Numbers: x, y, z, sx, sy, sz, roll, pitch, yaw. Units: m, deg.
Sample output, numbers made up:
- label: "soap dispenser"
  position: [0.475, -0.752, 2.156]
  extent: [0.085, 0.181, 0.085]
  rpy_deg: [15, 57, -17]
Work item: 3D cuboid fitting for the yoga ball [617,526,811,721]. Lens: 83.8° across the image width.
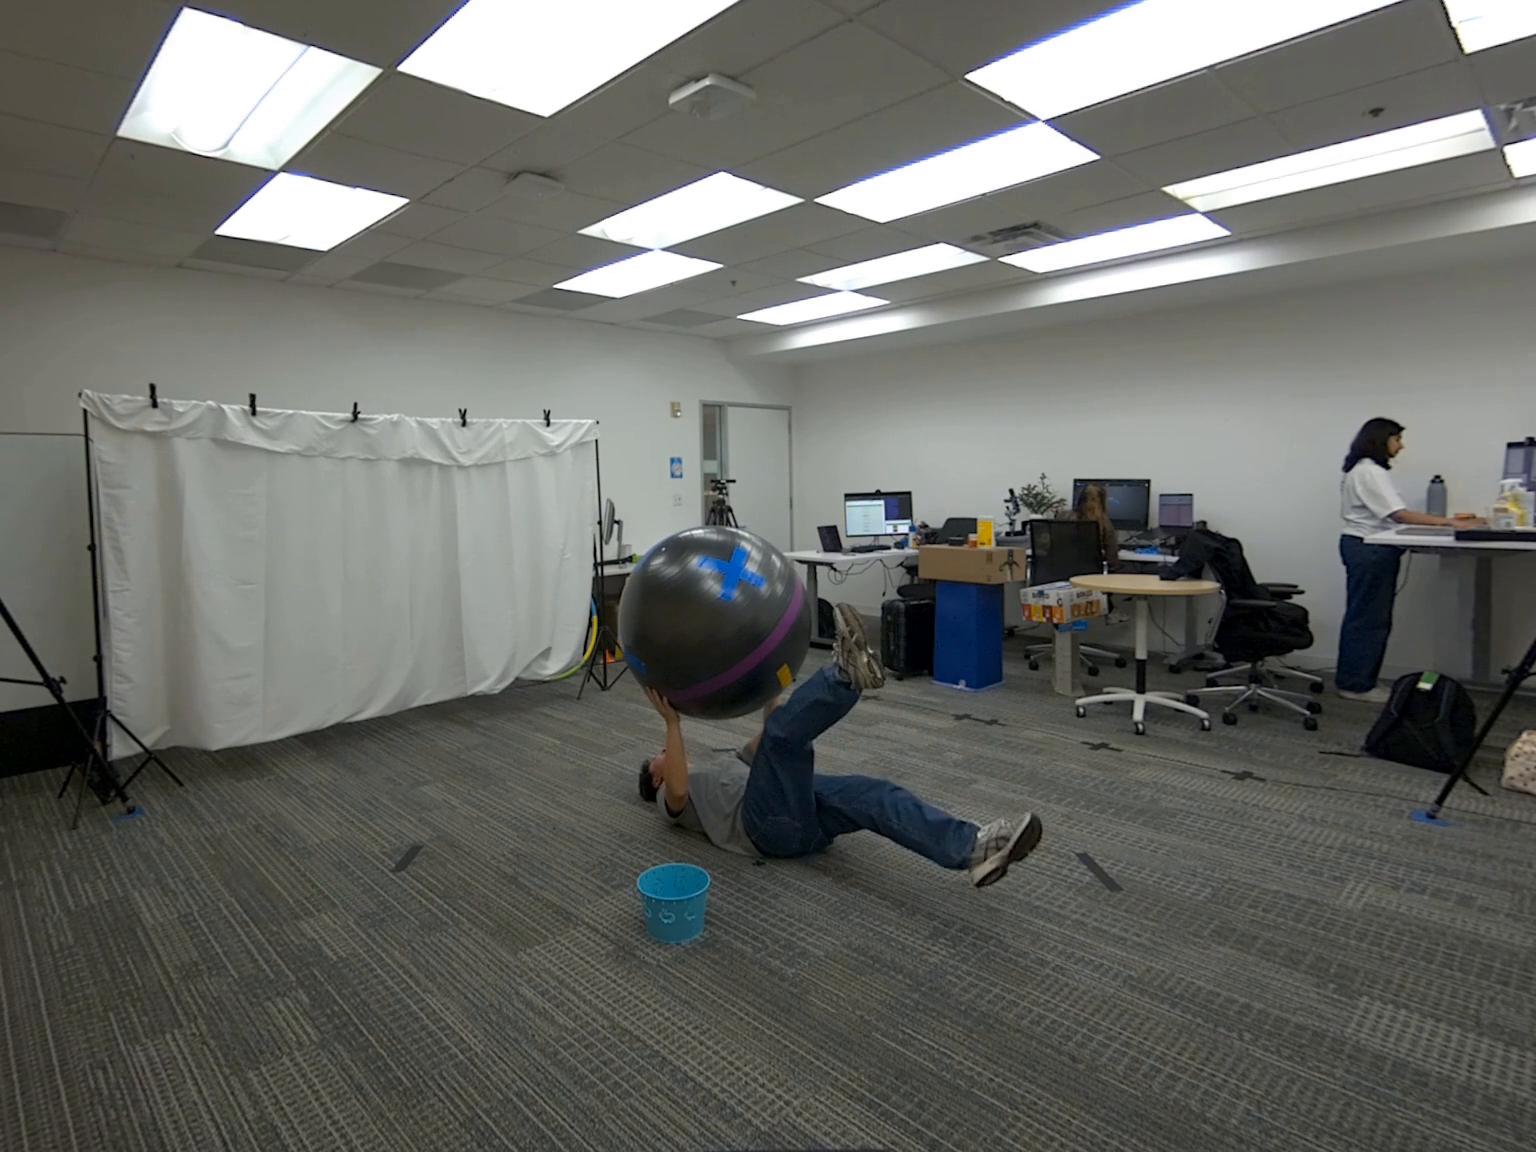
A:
- label: "yoga ball"
  position: [-0.212, 0.186, 3.366]
  extent: [0.757, 0.755, 0.762]
  rpy_deg: [-1, 5, -2]
